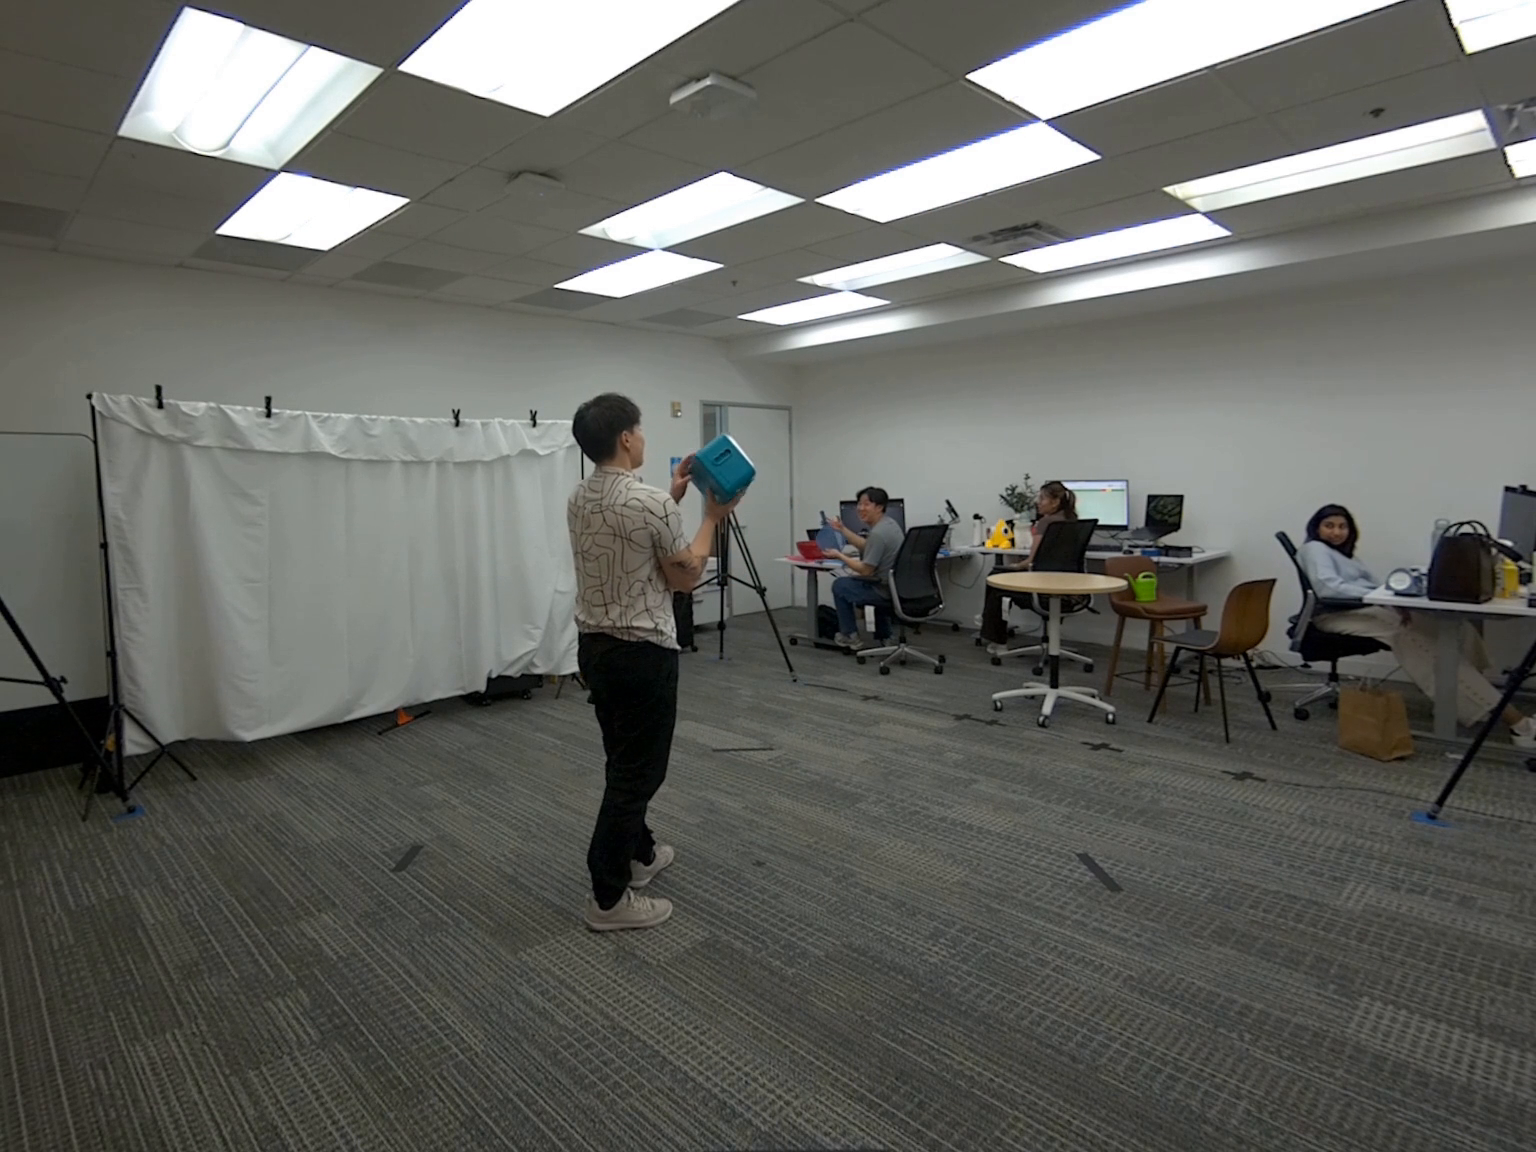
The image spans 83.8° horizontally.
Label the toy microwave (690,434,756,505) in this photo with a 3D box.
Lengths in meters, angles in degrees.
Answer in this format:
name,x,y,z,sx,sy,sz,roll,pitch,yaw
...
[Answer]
name,x,y,z,sx,sy,sz,roll,pitch,yaw
toy microwave,-0.149,-0.346,2.867,0.152,0.185,0.286,-40,-1,-11
